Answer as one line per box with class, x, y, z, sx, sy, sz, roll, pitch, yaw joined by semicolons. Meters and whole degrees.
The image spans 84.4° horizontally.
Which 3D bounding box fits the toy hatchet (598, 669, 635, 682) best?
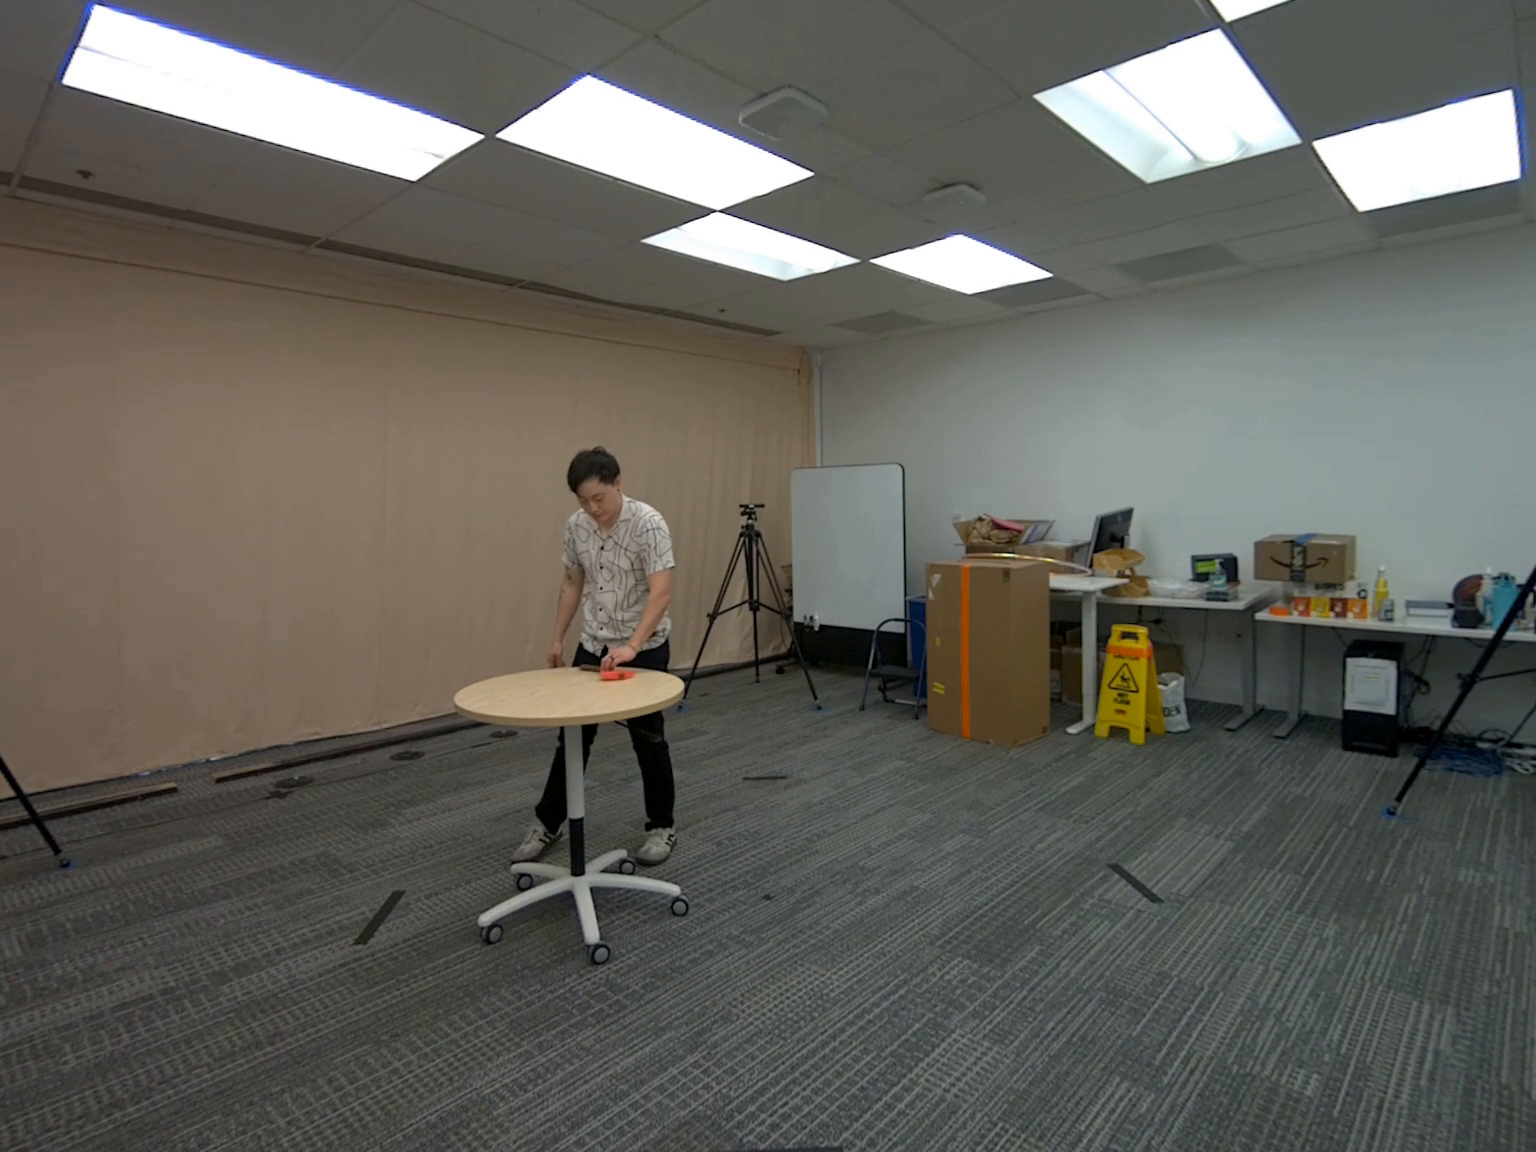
toy hatchet;-0.624;0.351;3.063;0.279;0.029;0.127;1;4;37
